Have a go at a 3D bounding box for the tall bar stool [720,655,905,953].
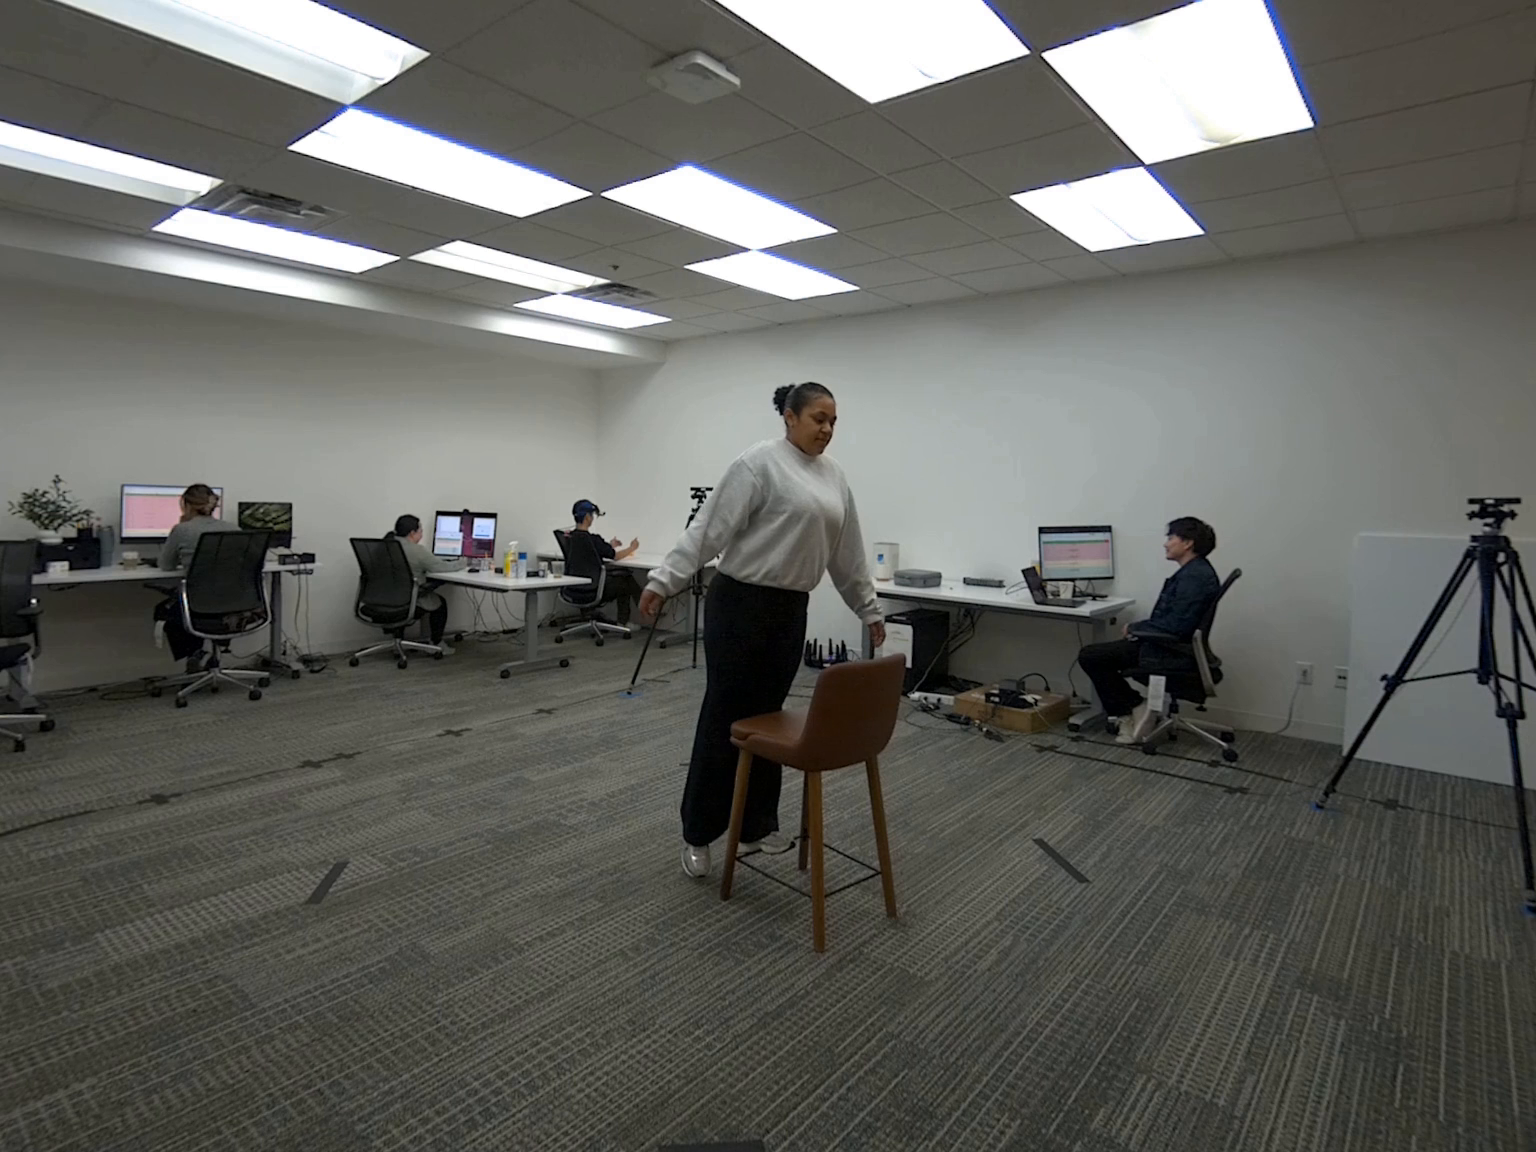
[{"bbox_3d":[0.148,0.665,2.818,0.442,0.887,0.484,-1,5,-42],"label":"tall bar stool"}]
